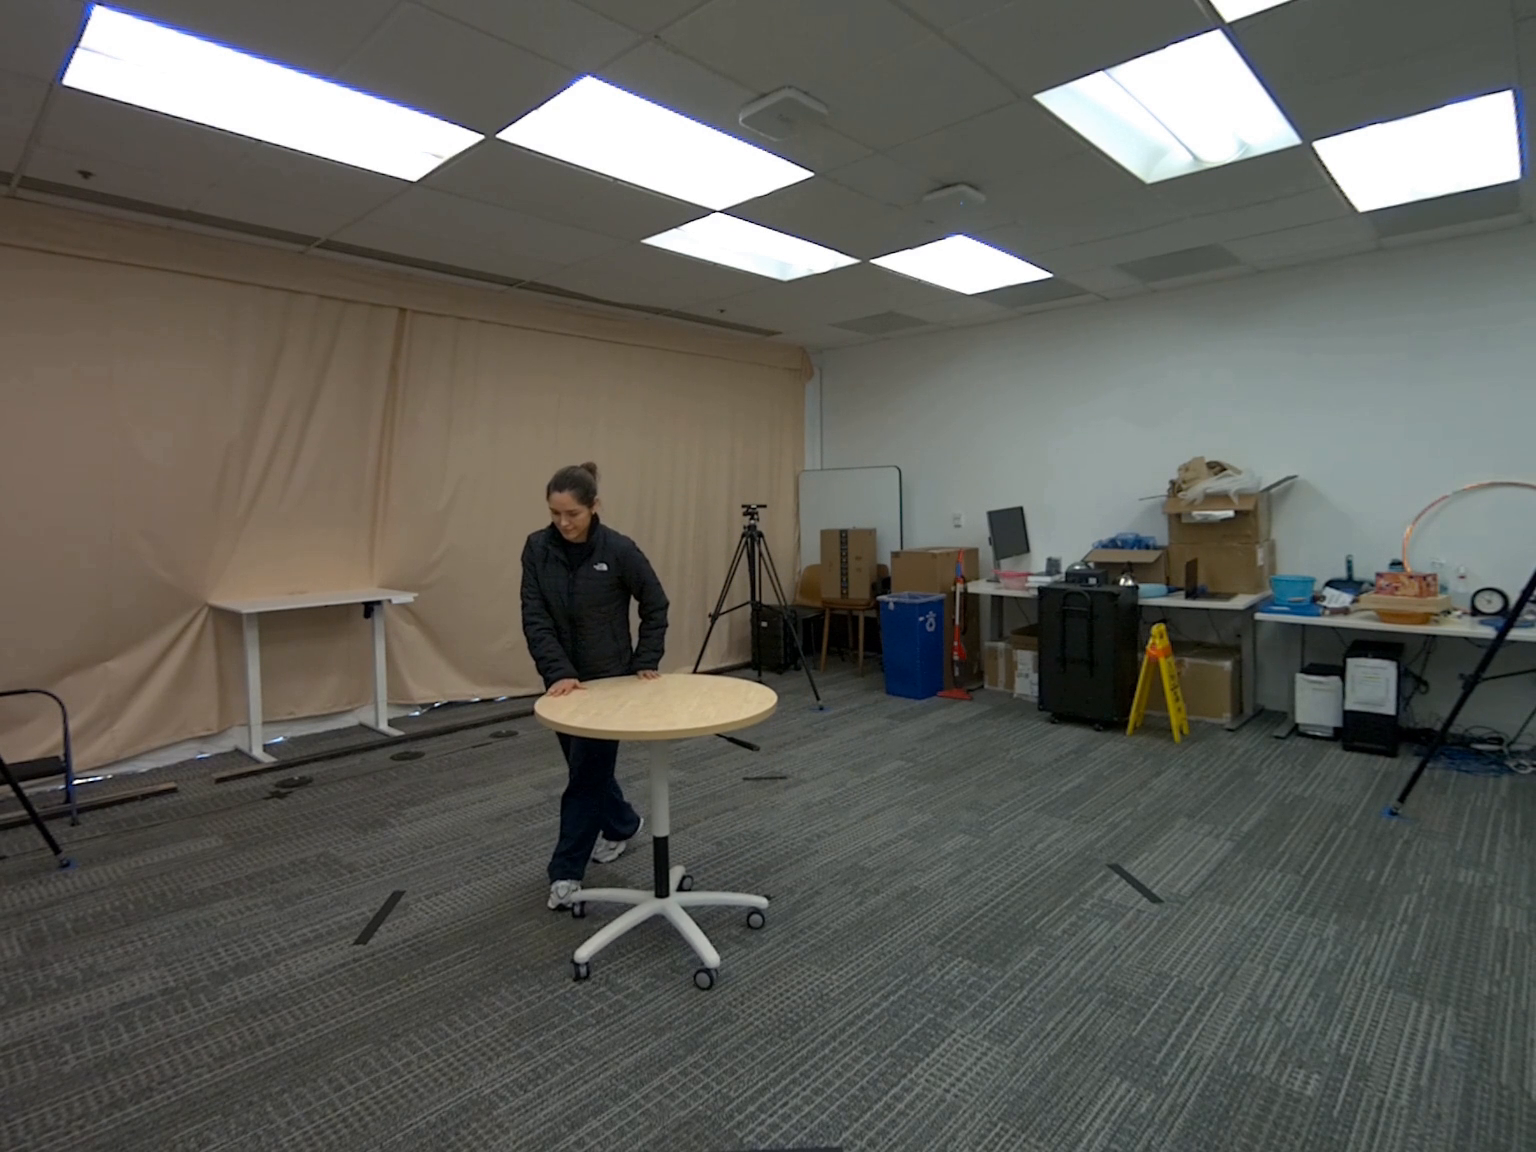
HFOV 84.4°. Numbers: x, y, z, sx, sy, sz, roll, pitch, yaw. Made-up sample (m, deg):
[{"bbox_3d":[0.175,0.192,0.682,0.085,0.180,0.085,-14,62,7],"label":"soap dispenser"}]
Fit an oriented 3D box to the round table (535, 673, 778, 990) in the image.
[{"bbox_3d":[-0.340,0.778,2.710,0.784,0.785,0.788,-1,4,-2],"label":"round table"}]
